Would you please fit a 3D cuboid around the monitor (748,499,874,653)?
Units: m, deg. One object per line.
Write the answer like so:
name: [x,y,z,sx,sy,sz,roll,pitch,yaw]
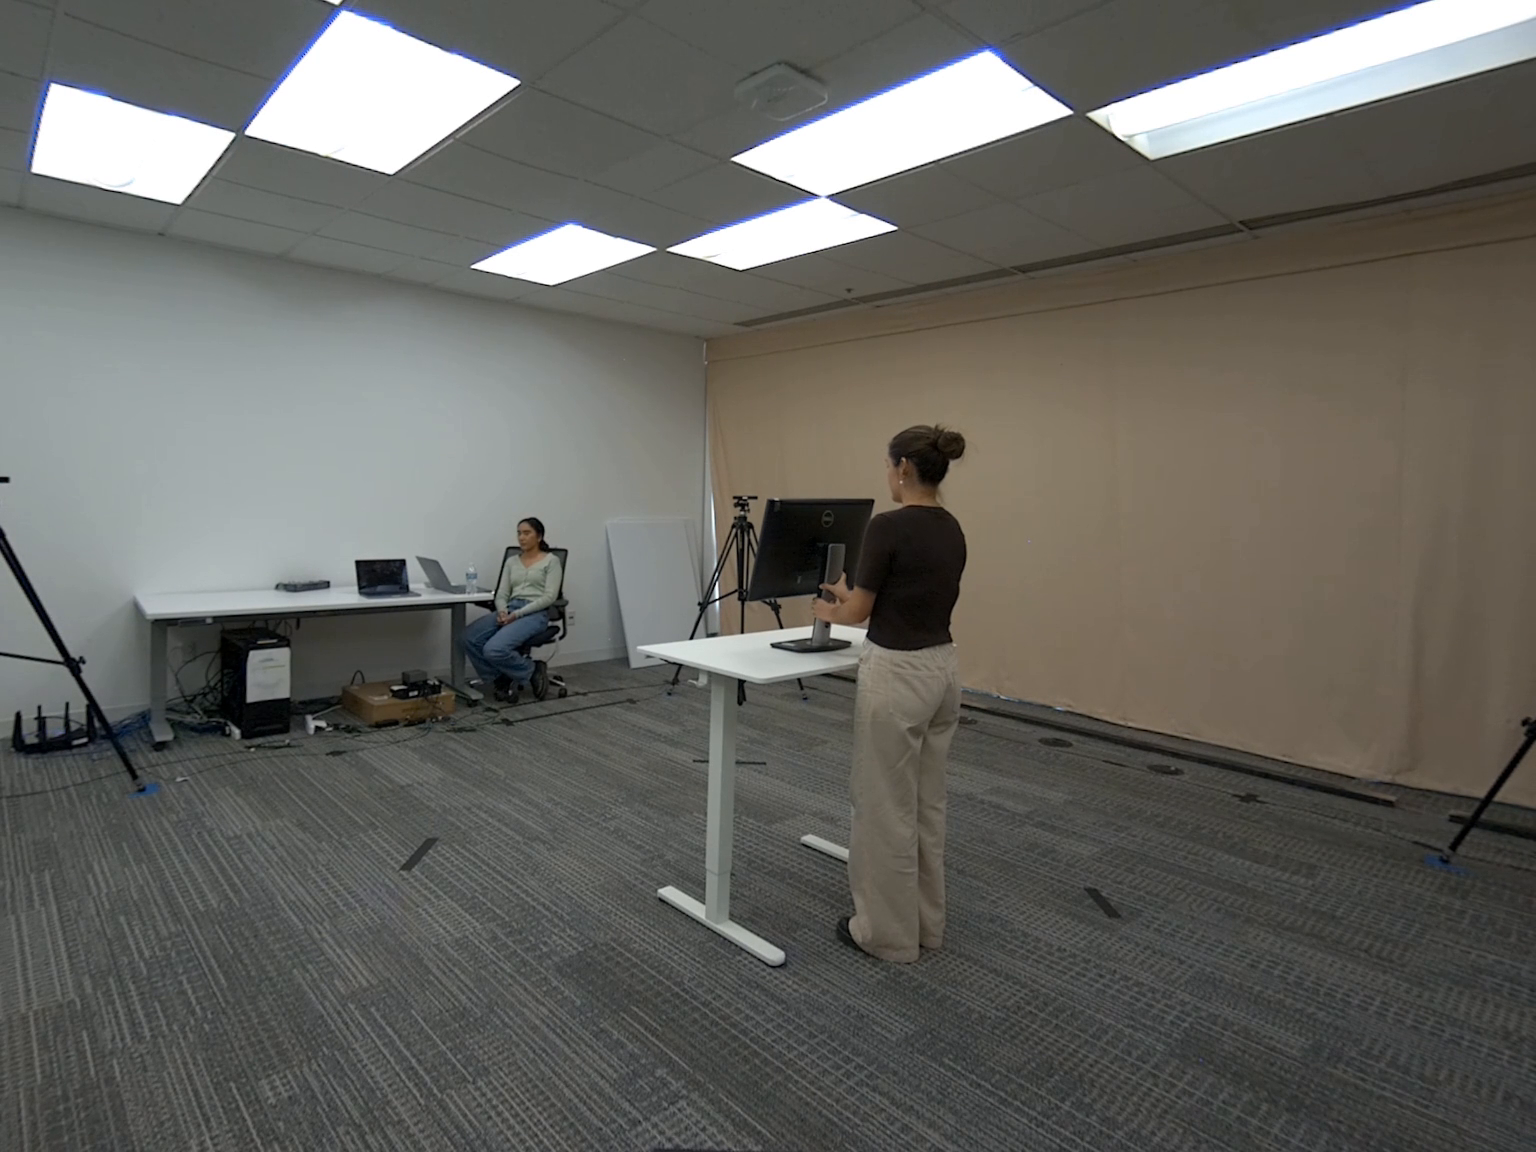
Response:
monitor: [0.166,-0.006,2.894,0.527,0.521,0.192,-3,7,-45]
